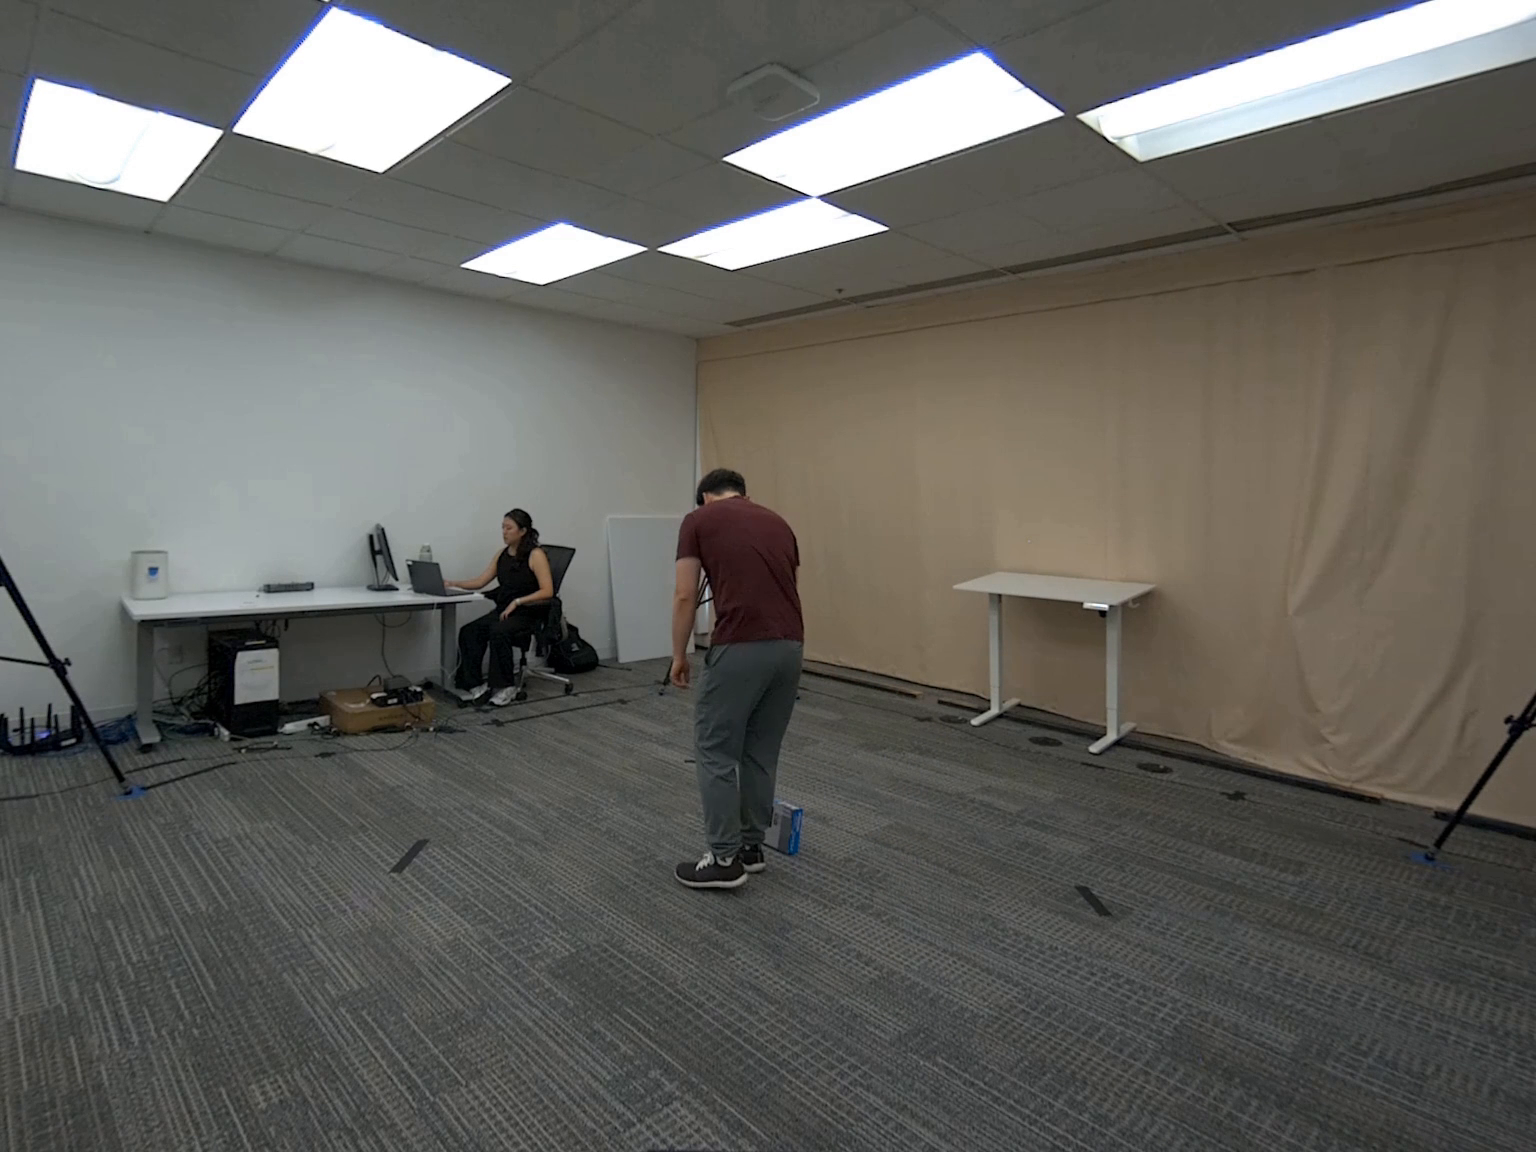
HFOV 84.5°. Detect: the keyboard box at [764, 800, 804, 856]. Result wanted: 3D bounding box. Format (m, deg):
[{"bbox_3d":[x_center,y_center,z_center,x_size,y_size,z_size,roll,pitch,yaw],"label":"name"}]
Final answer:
[{"bbox_3d":[-0.052,0.990,3.466,0.057,0.176,0.448,11,-3,-43],"label":"keyboard box"}]
